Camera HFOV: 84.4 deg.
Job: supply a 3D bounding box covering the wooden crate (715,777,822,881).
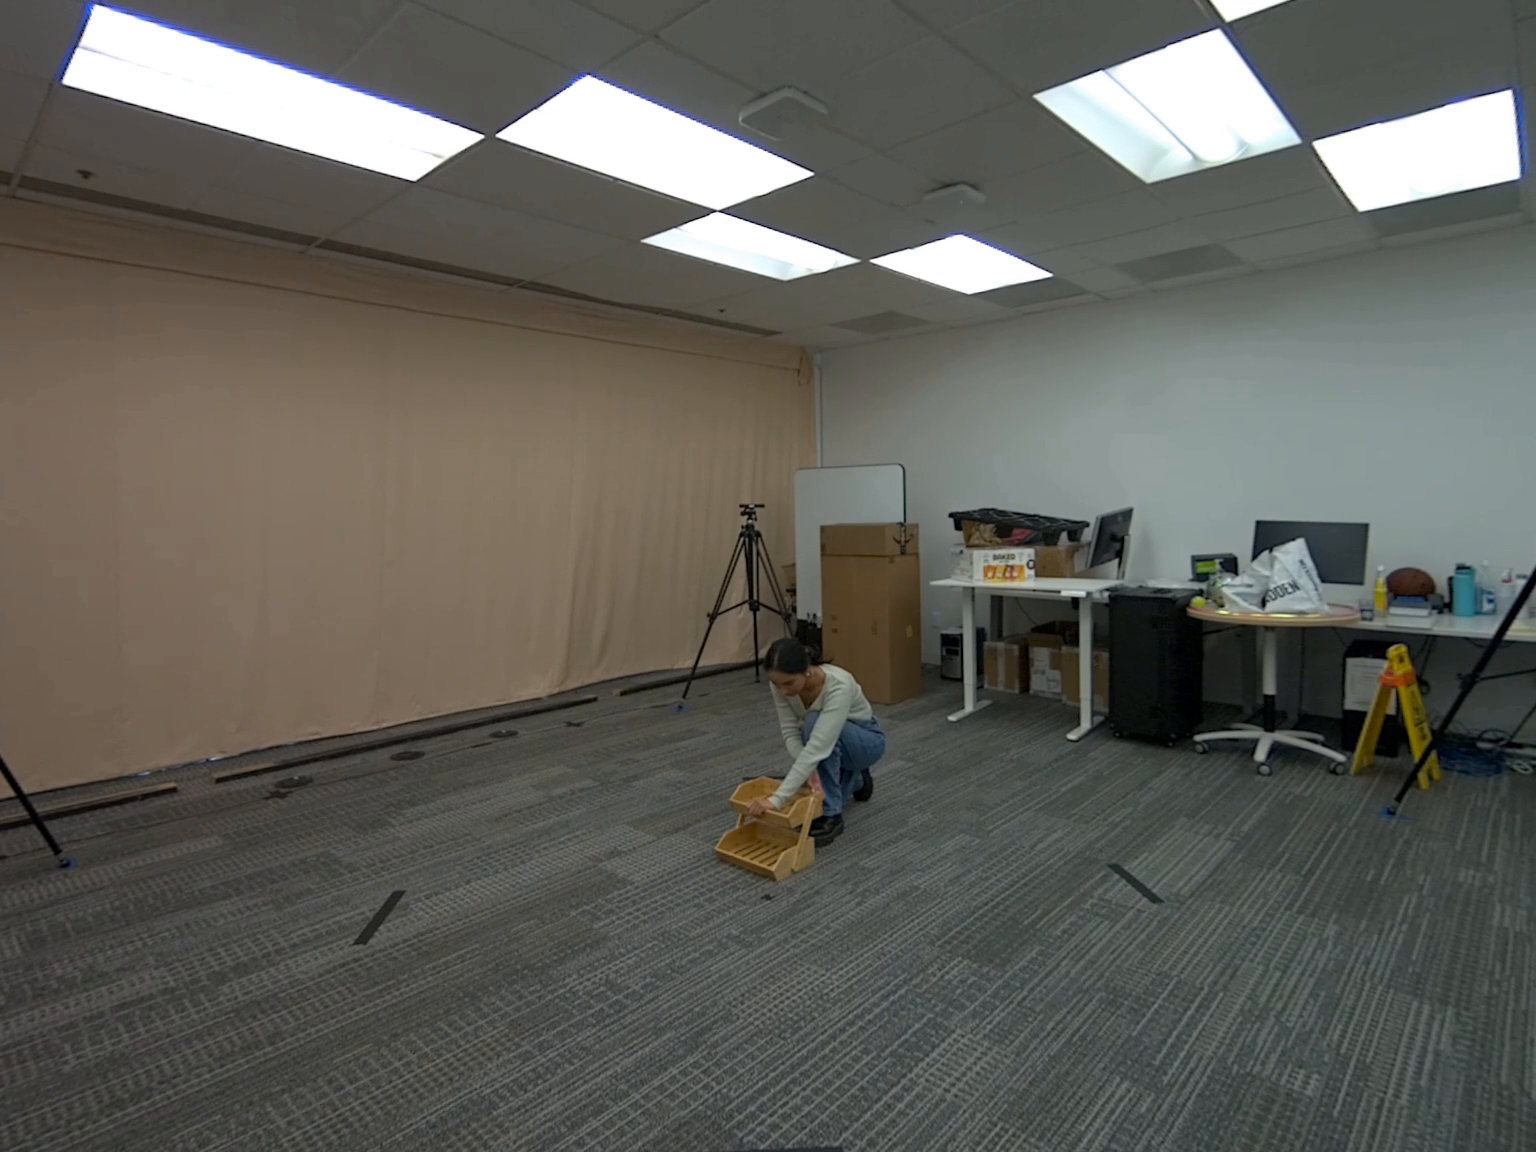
[{"bbox_3d":[-0.002,0.975,3.294,0.335,0.273,0.293,3,5,41],"label":"wooden crate"}]
